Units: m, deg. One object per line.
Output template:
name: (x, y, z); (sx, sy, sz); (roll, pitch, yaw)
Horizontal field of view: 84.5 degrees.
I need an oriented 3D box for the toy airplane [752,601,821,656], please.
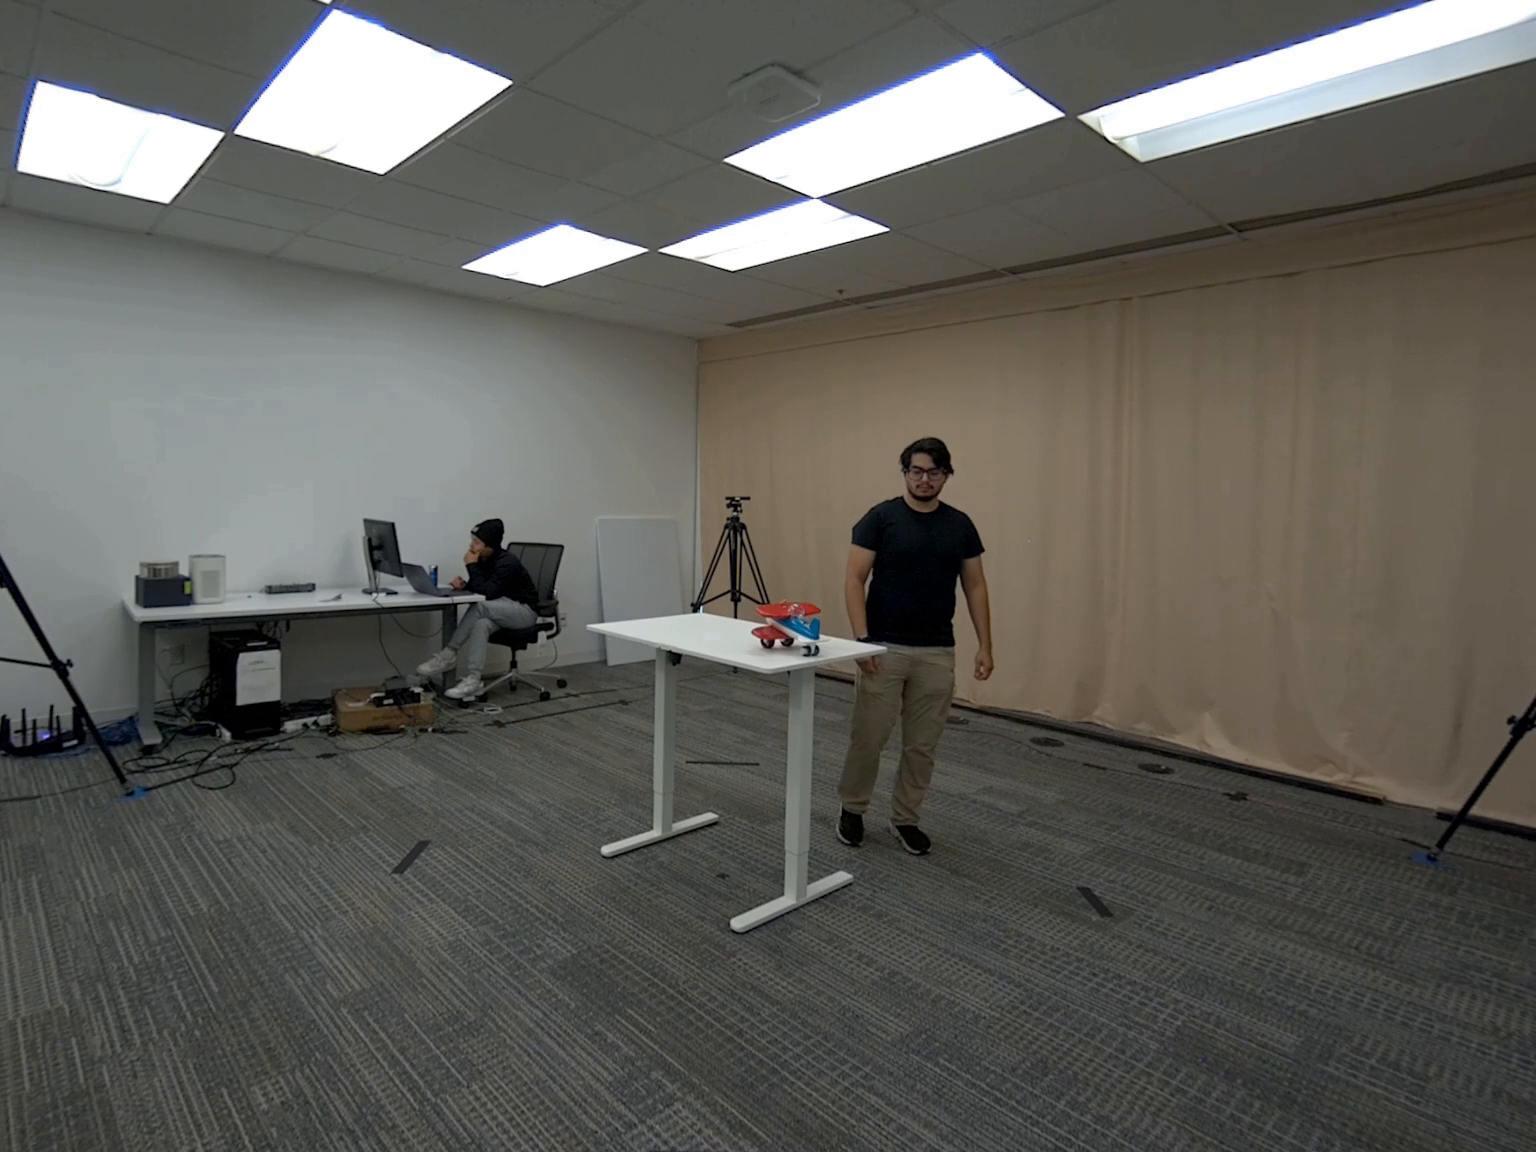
toy airplane: (0.090, 0.177, 2.846); (0.264, 0.156, 0.247); (2, 6, 26)
